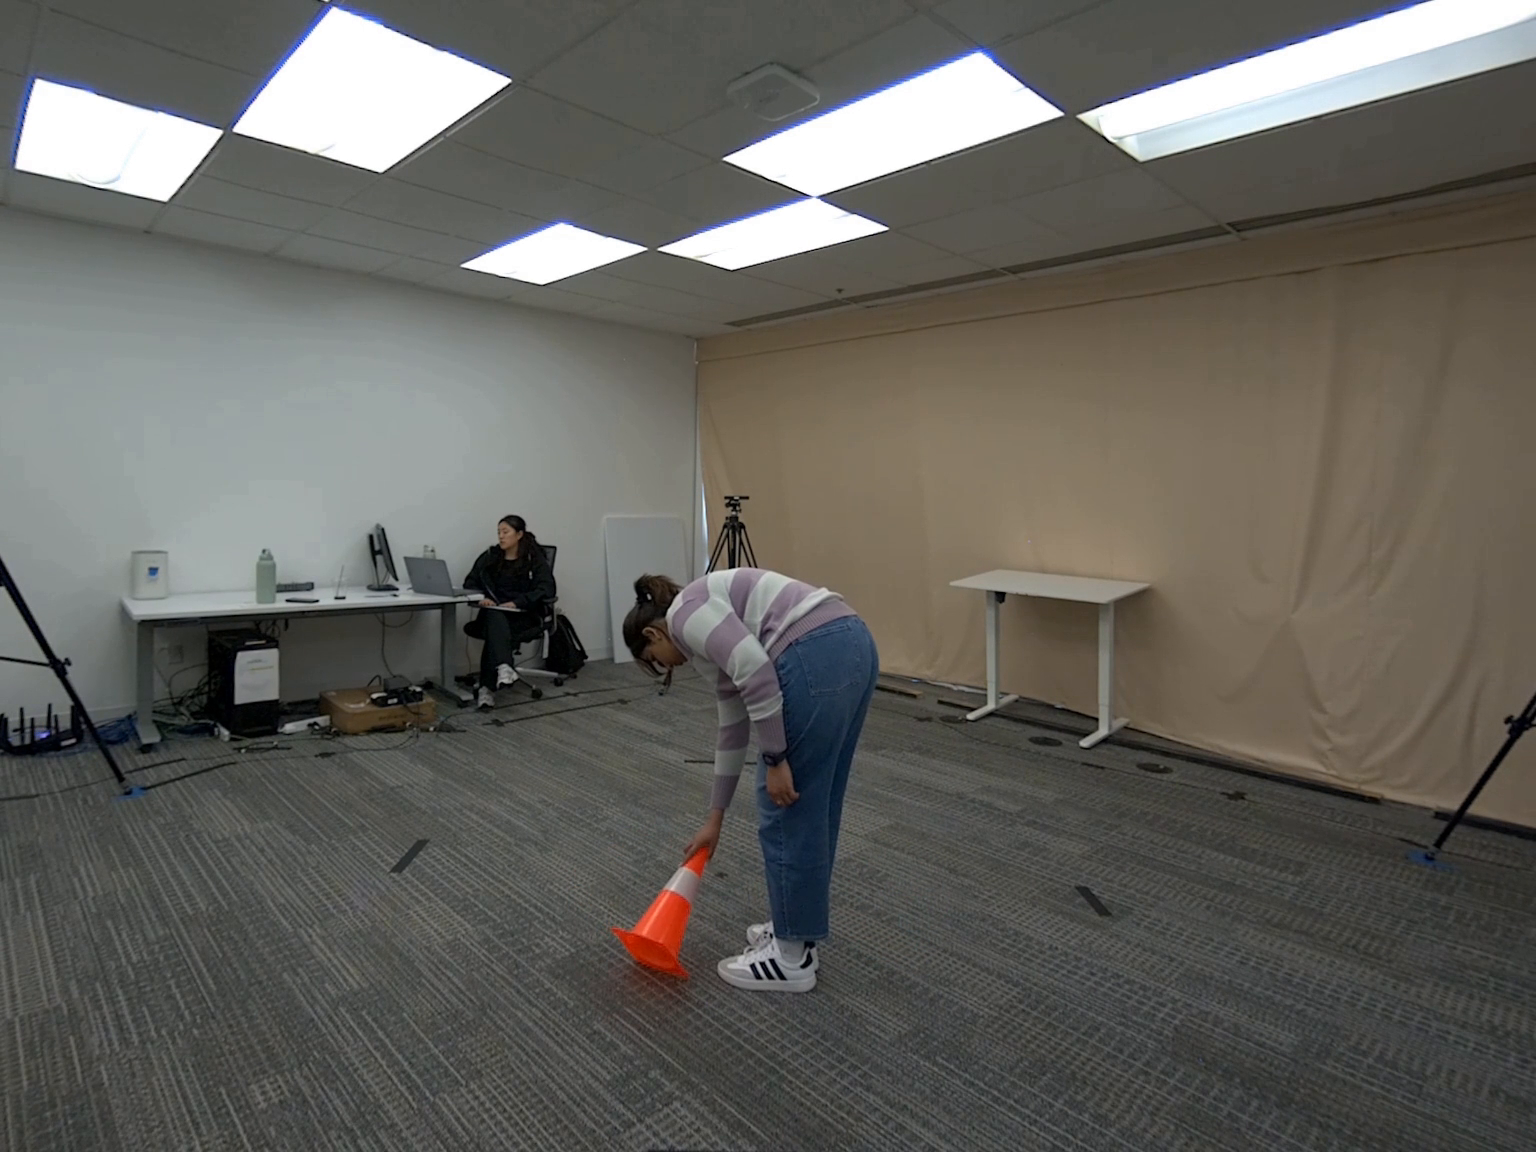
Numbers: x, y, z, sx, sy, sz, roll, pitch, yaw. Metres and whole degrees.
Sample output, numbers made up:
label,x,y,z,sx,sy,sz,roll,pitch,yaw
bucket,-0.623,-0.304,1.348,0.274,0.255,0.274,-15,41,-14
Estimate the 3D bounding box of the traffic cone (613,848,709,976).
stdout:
label,x,y,z,sx,sy,sz,roll,pitch,yaw
traffic cone,-0.276,0.950,2.540,0.207,0.200,0.385,-9,34,38
